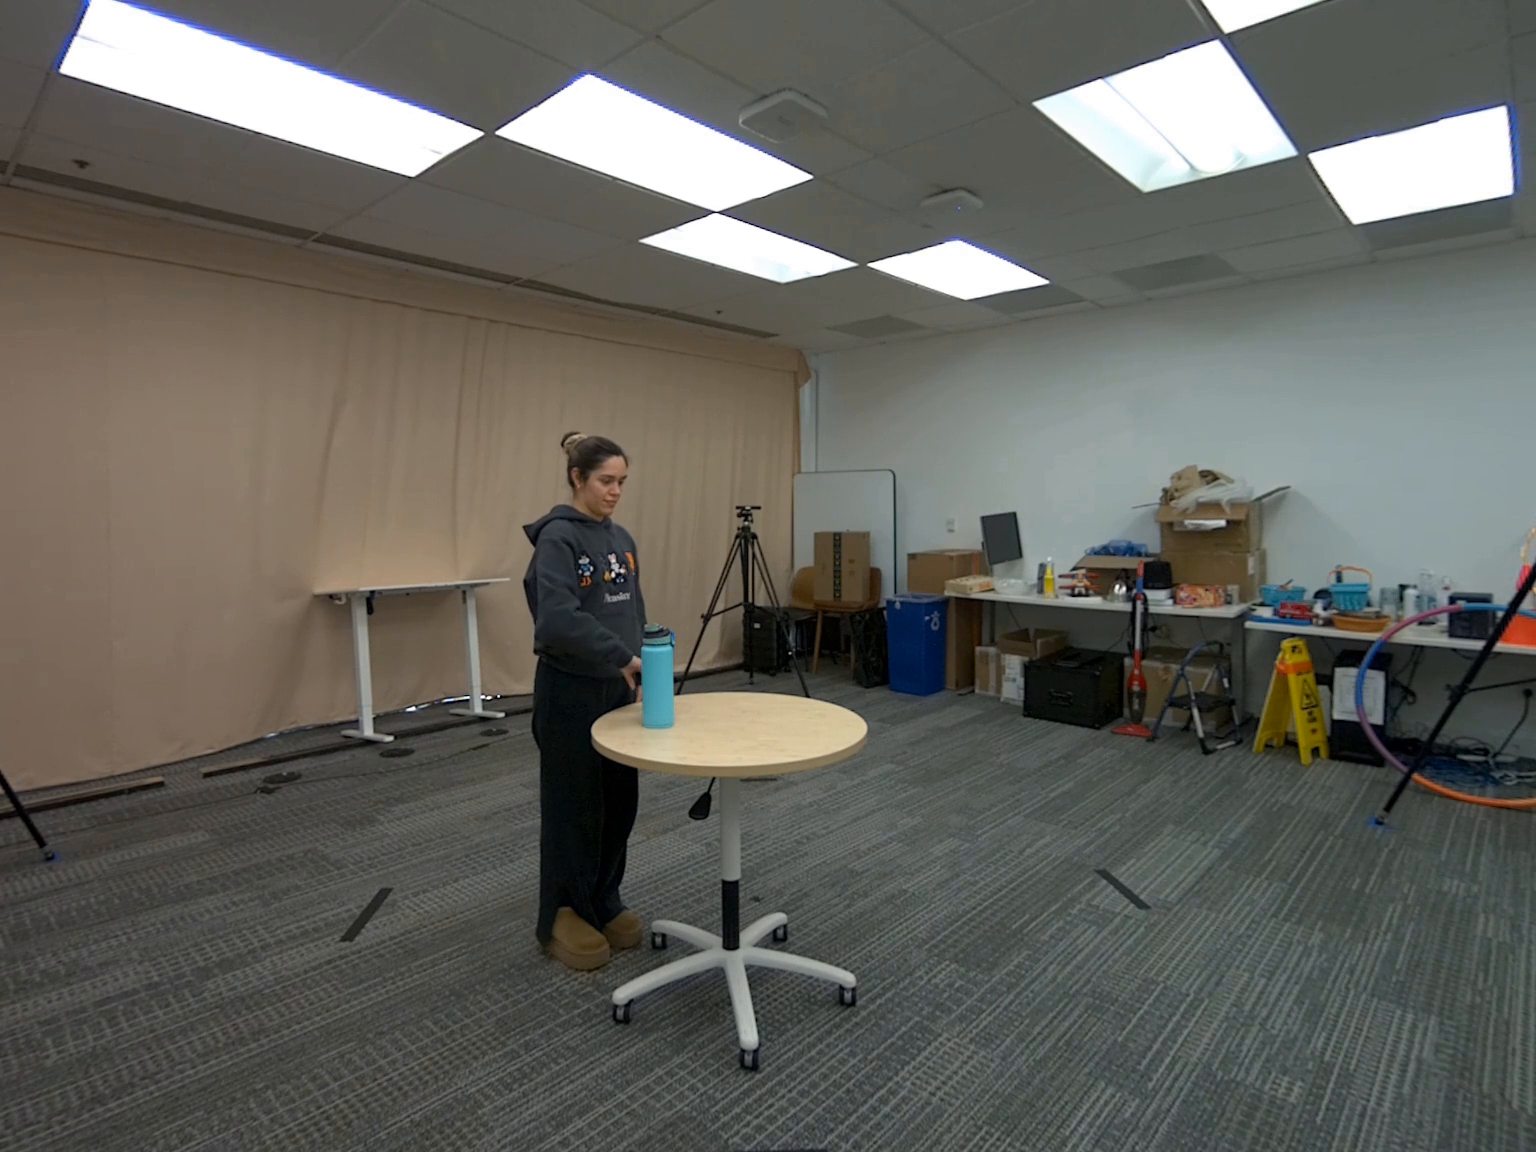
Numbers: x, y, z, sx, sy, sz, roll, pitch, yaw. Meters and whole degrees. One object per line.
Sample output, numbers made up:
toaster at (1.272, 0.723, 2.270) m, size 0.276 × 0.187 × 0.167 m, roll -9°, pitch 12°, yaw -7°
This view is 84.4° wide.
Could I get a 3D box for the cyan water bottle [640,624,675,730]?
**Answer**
cyan water bottle at (-0.305, 0.283, 2.346) m, size 0.092 × 0.283 × 0.092 m, roll -2°, pitch 2°, yaw -2°
